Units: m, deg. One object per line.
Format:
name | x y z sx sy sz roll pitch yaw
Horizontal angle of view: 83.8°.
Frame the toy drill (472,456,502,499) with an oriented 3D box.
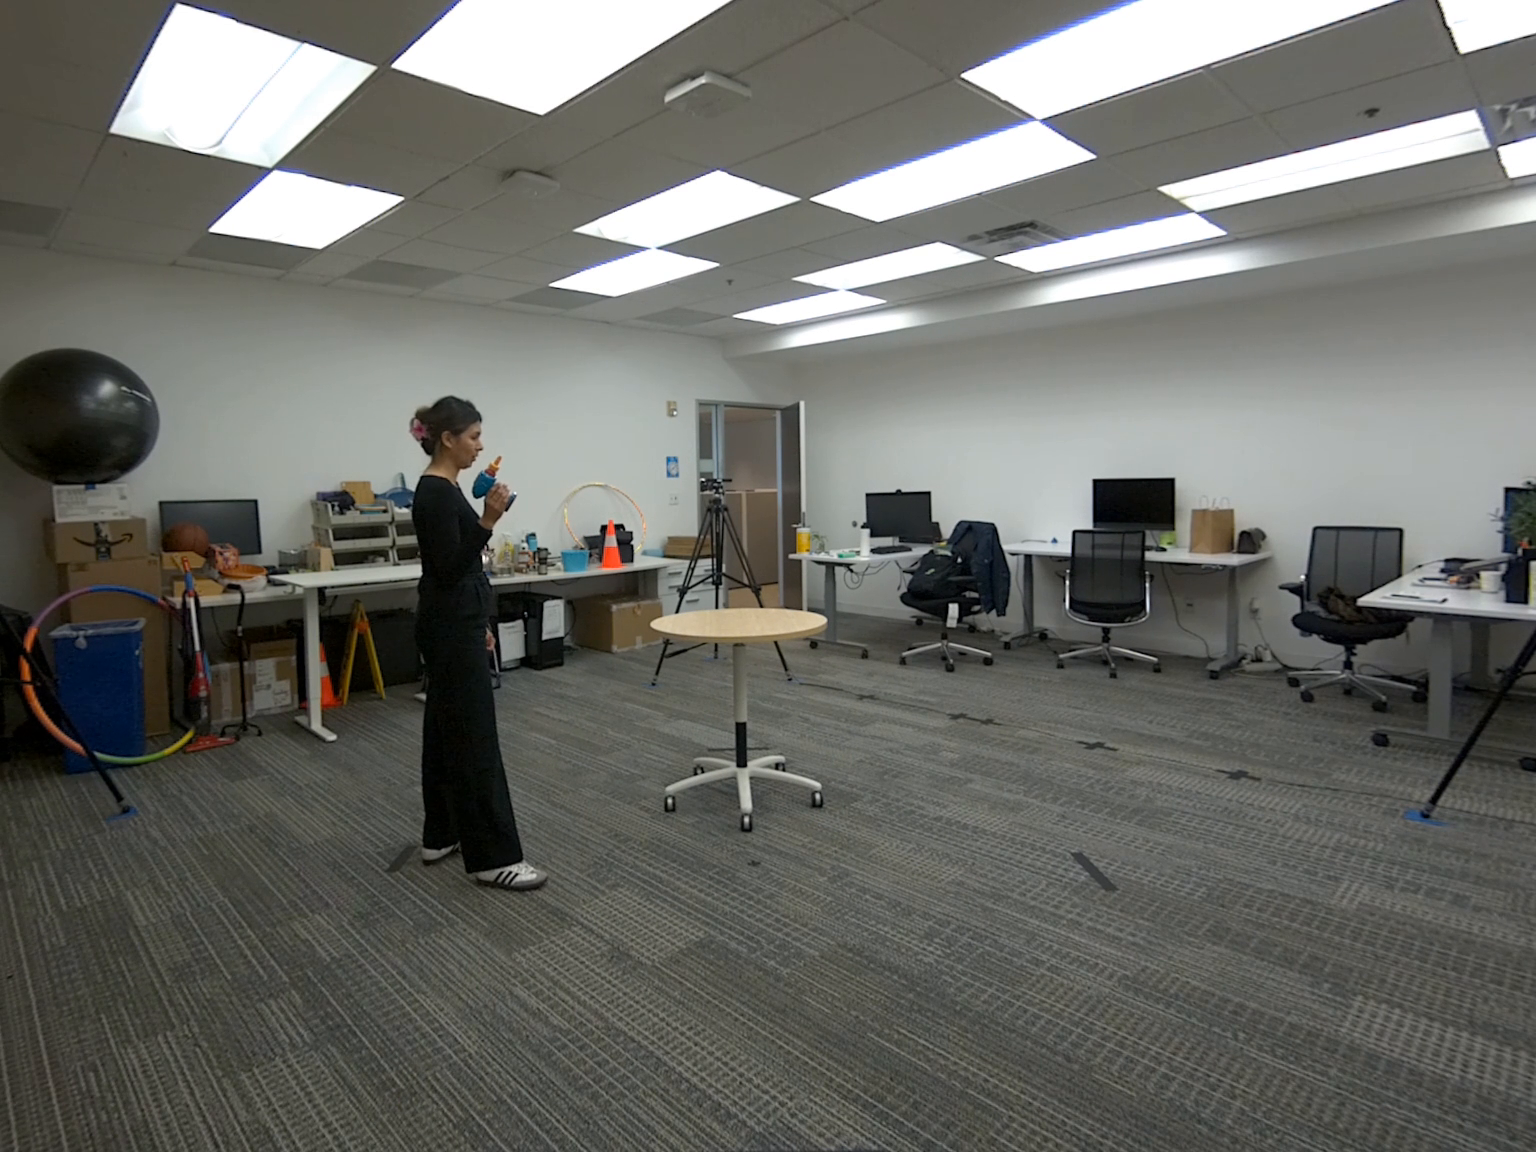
toy drill | -0.901 -0.313 2.854 0.144 0.169 0.062 33 8 -11
